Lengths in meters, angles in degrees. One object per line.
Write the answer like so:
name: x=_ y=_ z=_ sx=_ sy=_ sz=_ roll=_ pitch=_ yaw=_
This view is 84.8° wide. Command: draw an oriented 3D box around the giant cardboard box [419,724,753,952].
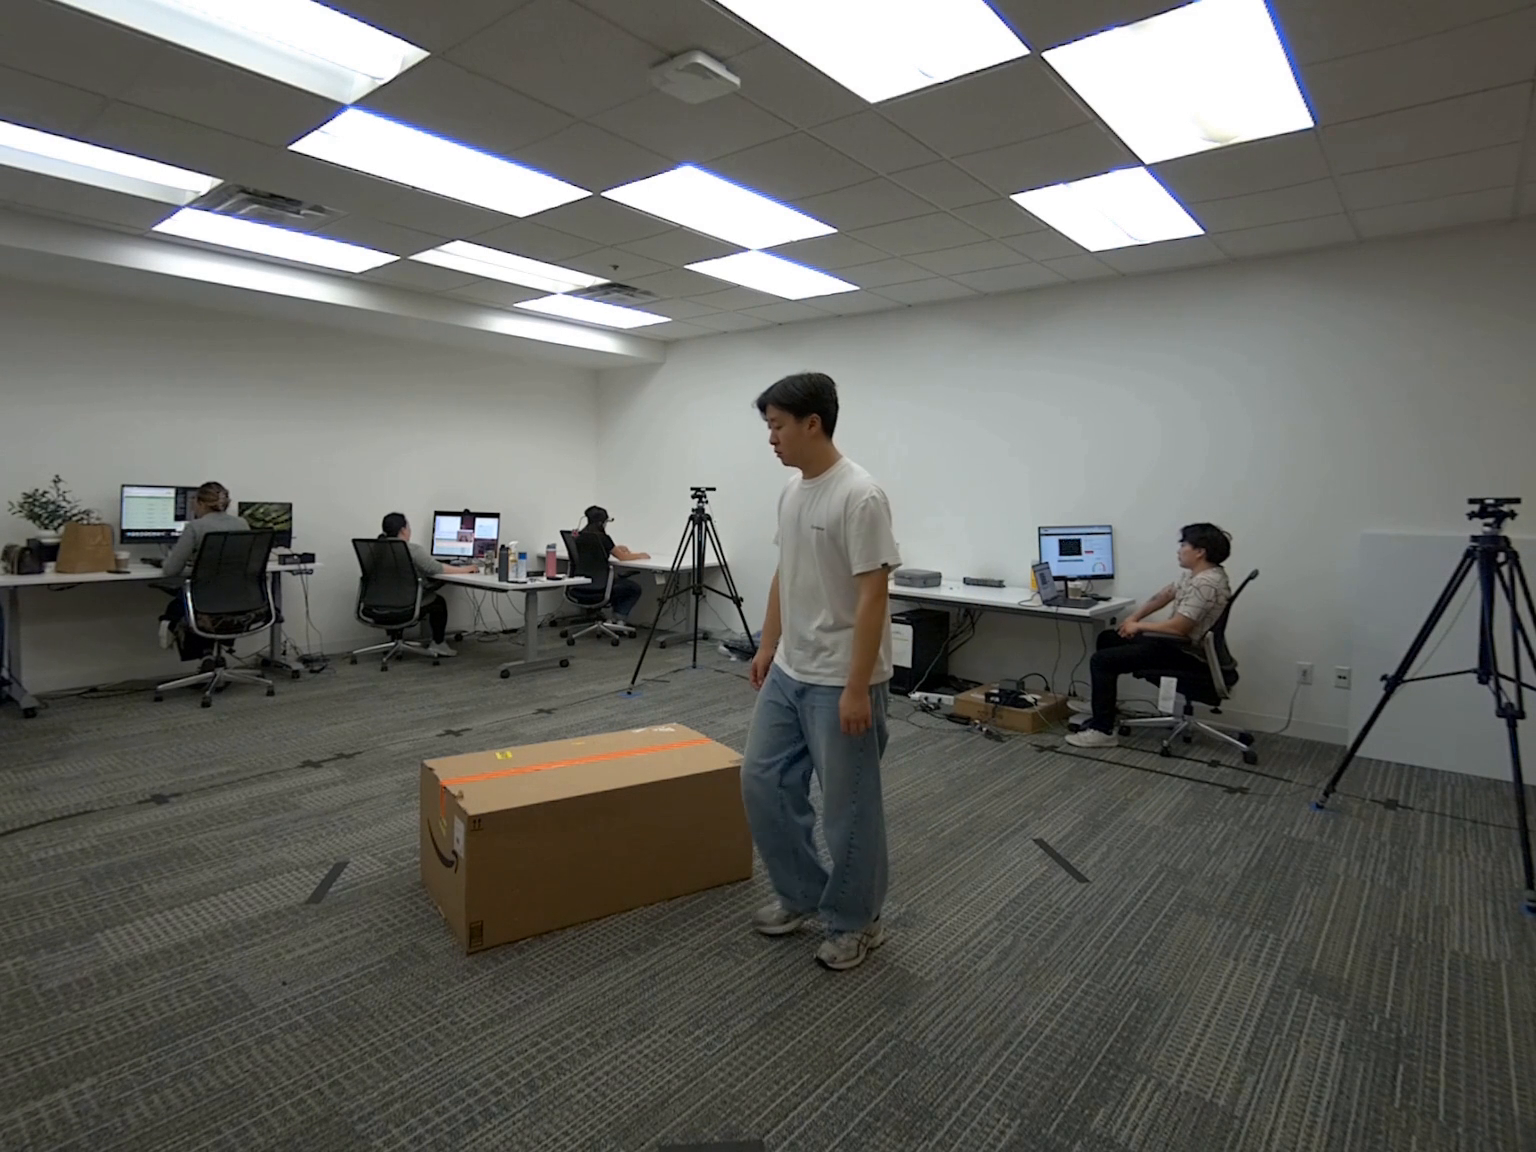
giant cardboard box: x=-0.644 y=0.856 z=2.998 sx=0.997 sy=0.425 sz=0.596 roll=-3 pitch=5 yaw=-33
